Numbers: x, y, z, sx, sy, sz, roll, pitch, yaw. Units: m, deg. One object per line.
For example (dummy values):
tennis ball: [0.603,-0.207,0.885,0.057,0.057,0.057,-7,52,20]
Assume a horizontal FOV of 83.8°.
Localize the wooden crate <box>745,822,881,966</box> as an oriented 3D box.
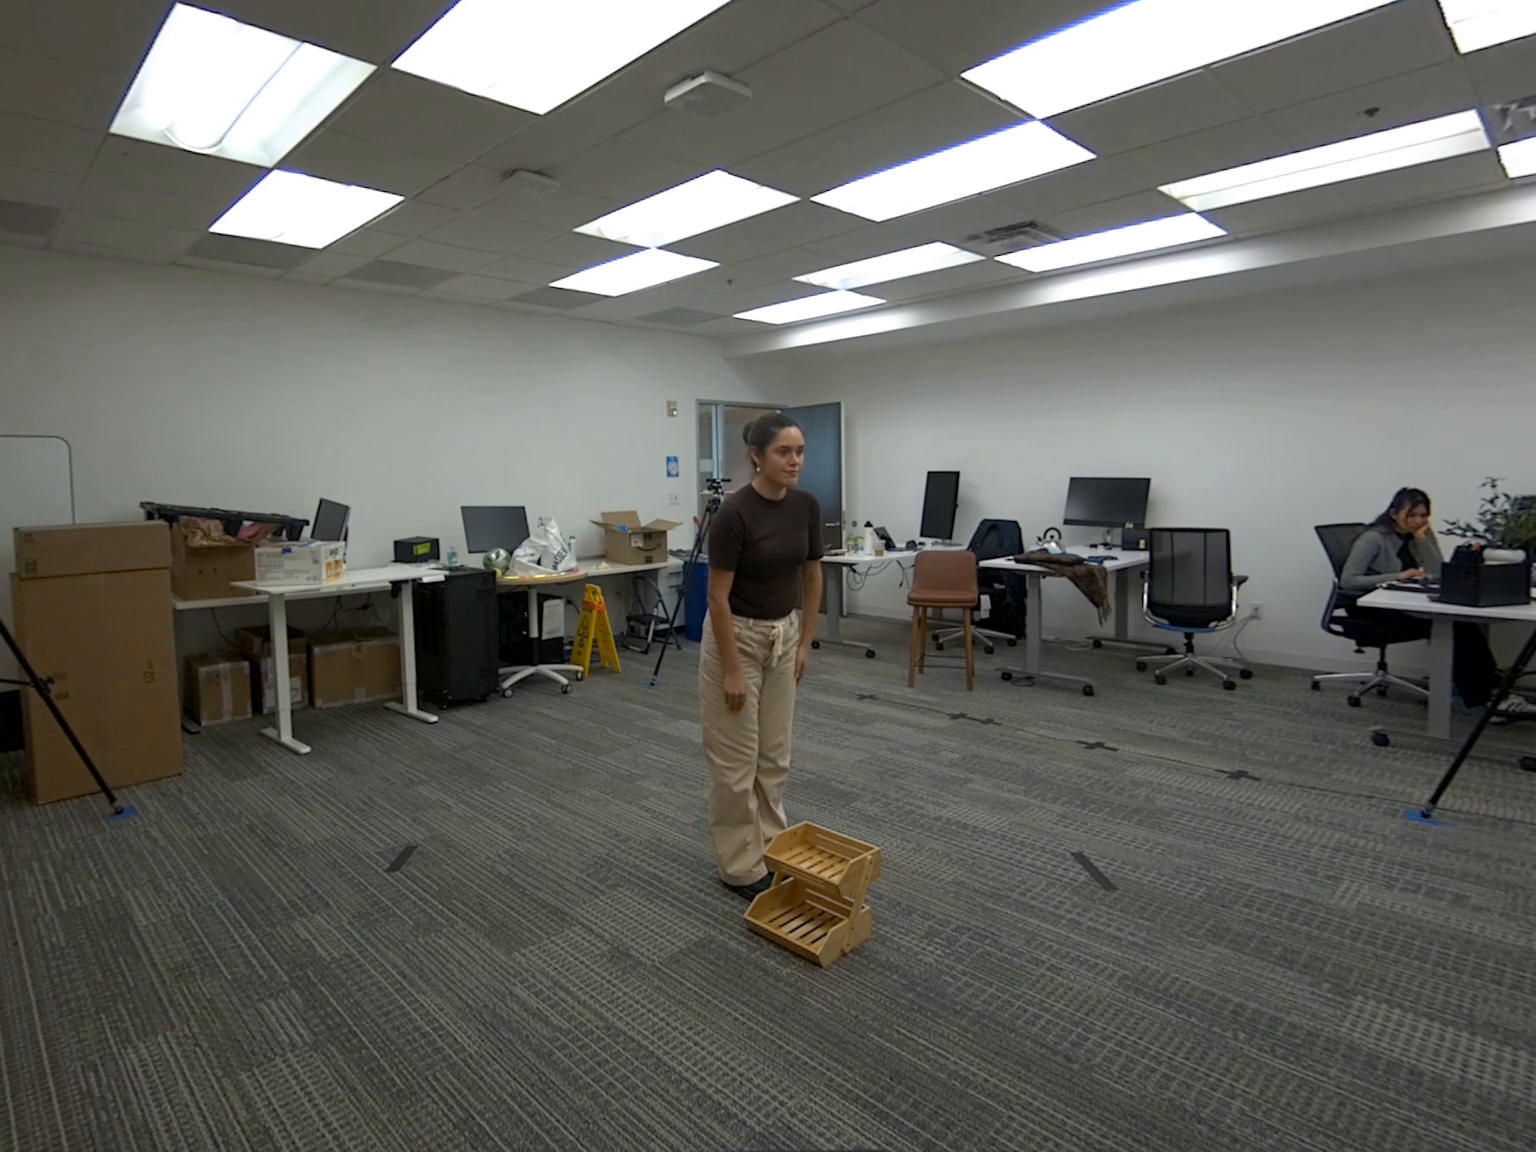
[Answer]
wooden crate: [0.138,0.961,2.627,0.334,0.272,0.294,4,6,44]
